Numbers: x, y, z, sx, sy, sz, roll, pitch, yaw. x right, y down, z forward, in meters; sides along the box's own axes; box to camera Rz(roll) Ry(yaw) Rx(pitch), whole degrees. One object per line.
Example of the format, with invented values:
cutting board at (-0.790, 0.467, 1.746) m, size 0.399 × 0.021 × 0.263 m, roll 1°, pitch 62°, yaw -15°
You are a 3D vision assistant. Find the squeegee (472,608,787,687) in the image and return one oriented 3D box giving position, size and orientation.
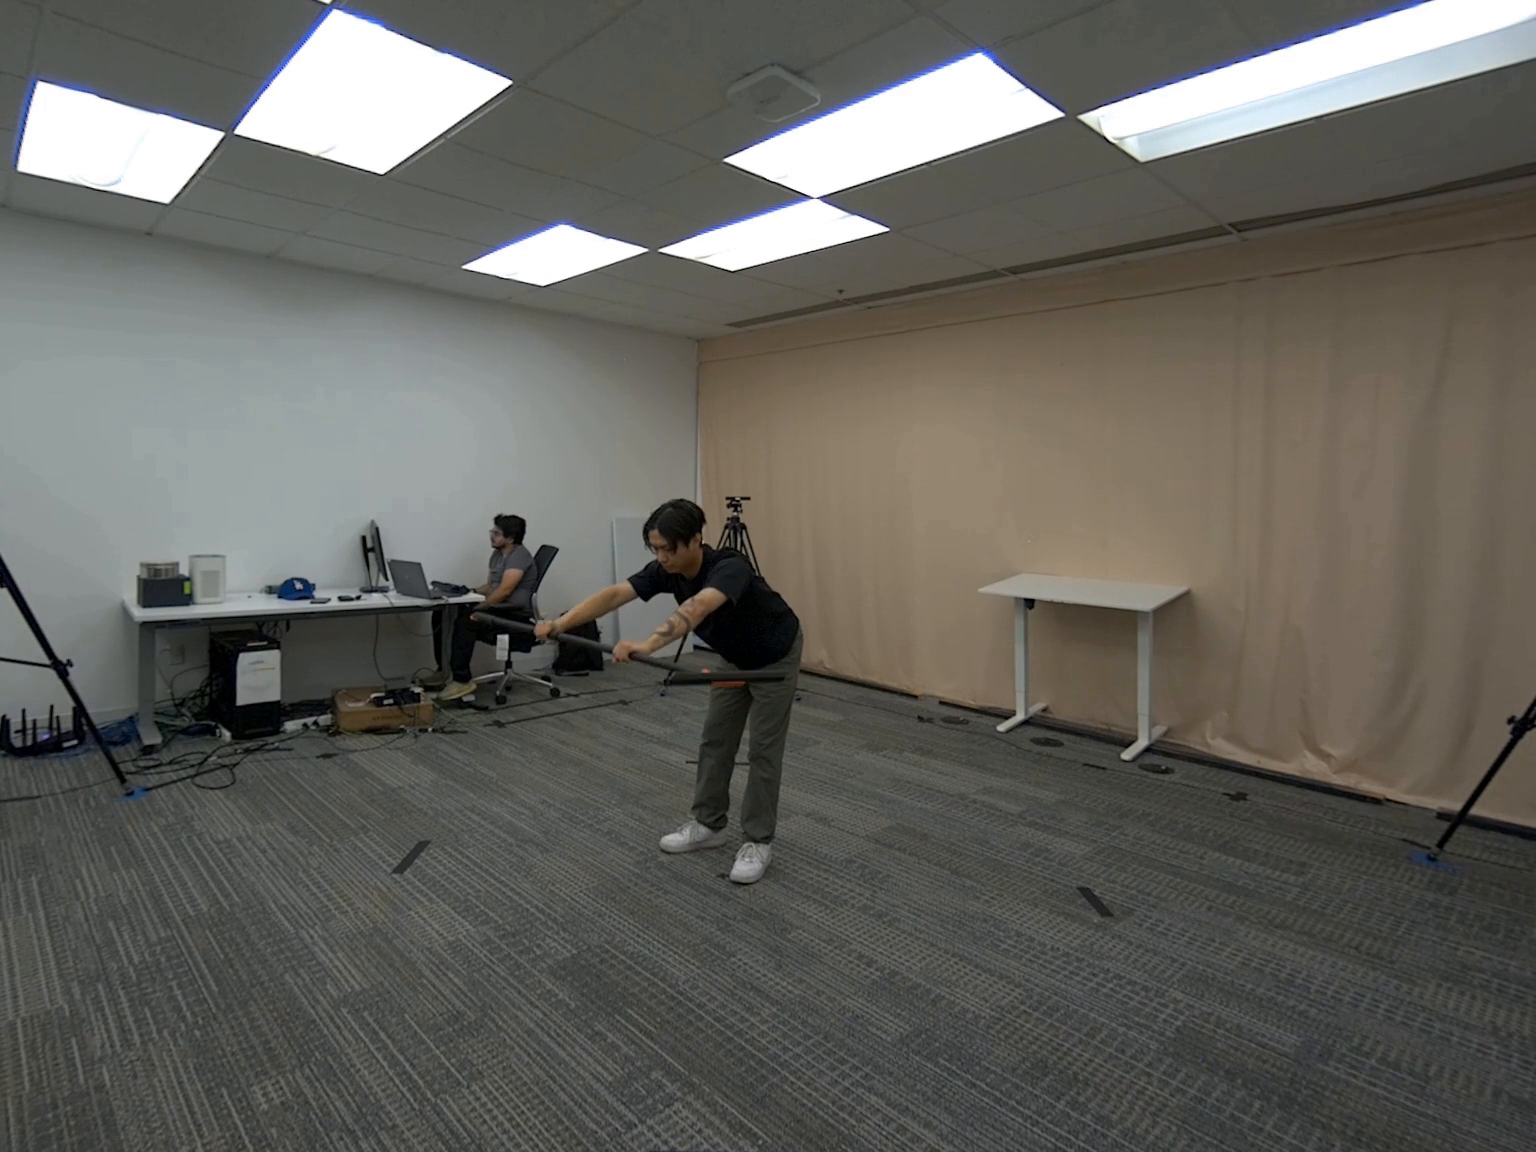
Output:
squeegee at (-0.652, 0.231, 2.837) m, size 0.426 × 0.053 × 1.577 m, roll 8°, pitch -2°, yaw -44°
